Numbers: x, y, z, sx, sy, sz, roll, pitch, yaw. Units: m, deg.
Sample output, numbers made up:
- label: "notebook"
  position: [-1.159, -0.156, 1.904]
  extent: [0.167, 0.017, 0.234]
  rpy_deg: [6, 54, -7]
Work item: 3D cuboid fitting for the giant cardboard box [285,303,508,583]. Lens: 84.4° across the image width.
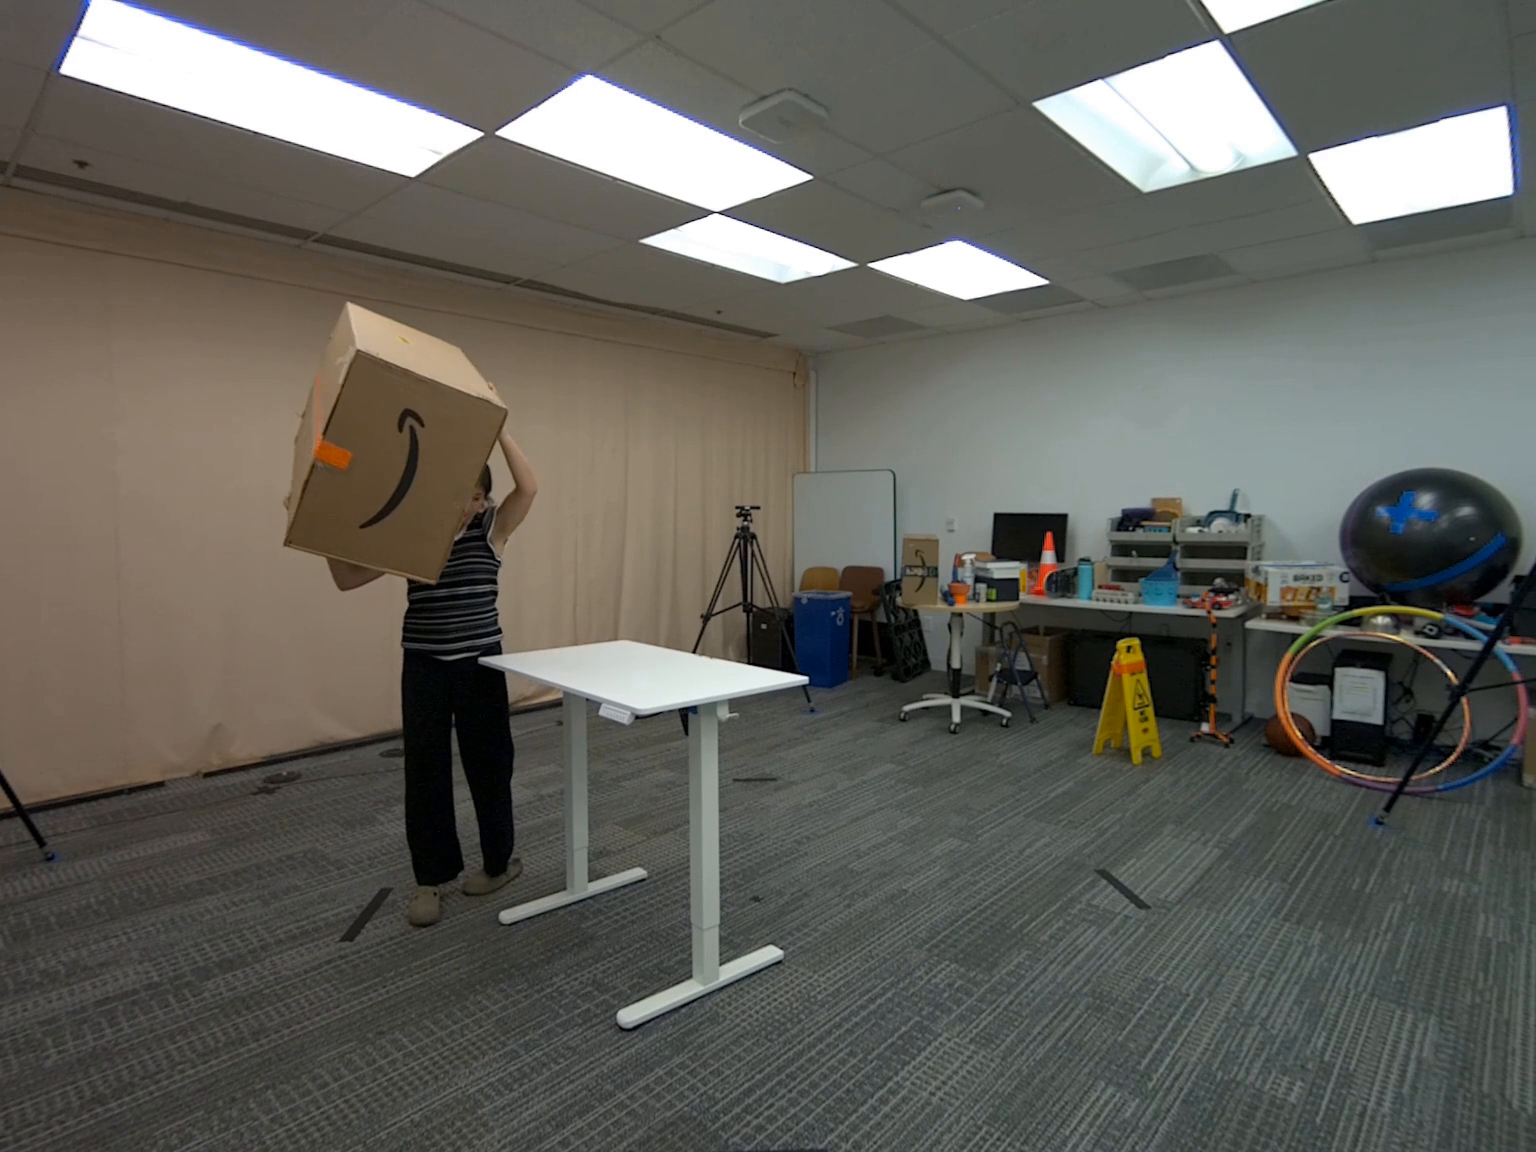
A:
- label: "giant cardboard box"
  position: [-1.250, -0.476, 2.758]
  extent: [0.412, 0.577, 1.061]
  rpy_deg: [20, 12, -33]
